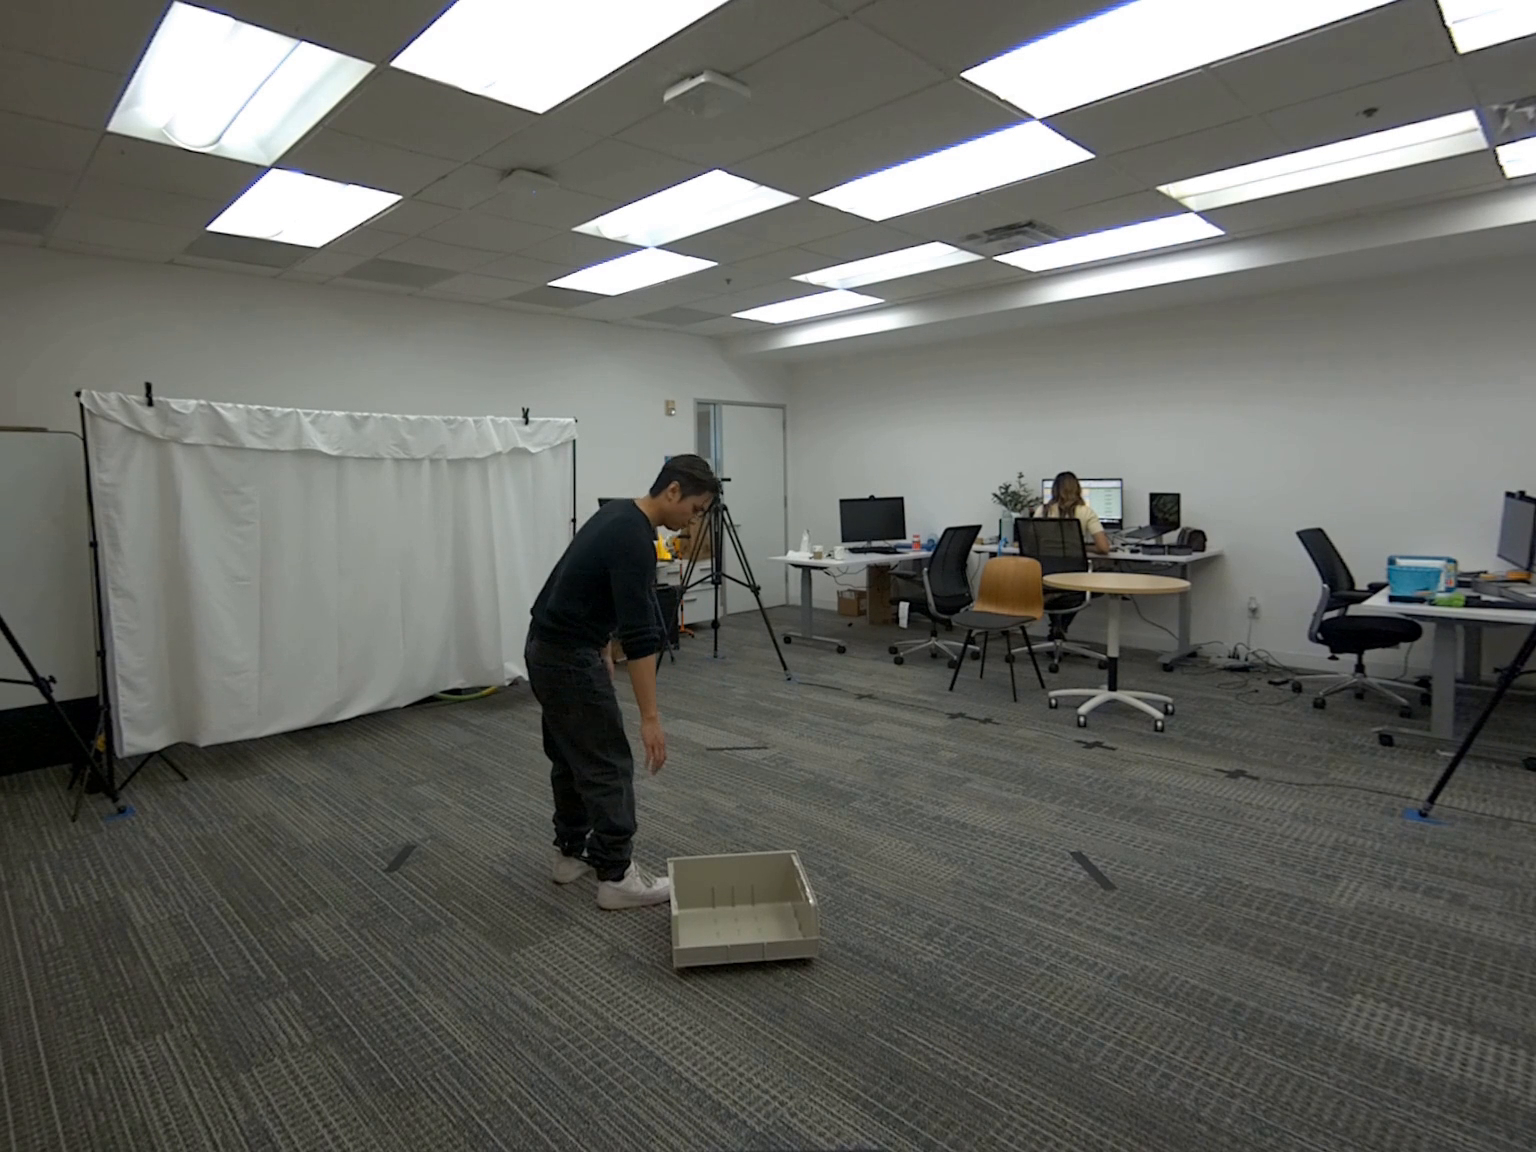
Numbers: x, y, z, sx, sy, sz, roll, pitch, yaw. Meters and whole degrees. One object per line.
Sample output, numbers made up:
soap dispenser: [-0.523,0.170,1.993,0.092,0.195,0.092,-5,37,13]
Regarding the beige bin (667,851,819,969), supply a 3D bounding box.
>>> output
beige bin: [-0.081,1.023,2.581,0.420,0.188,0.381,-2,6,-6]
